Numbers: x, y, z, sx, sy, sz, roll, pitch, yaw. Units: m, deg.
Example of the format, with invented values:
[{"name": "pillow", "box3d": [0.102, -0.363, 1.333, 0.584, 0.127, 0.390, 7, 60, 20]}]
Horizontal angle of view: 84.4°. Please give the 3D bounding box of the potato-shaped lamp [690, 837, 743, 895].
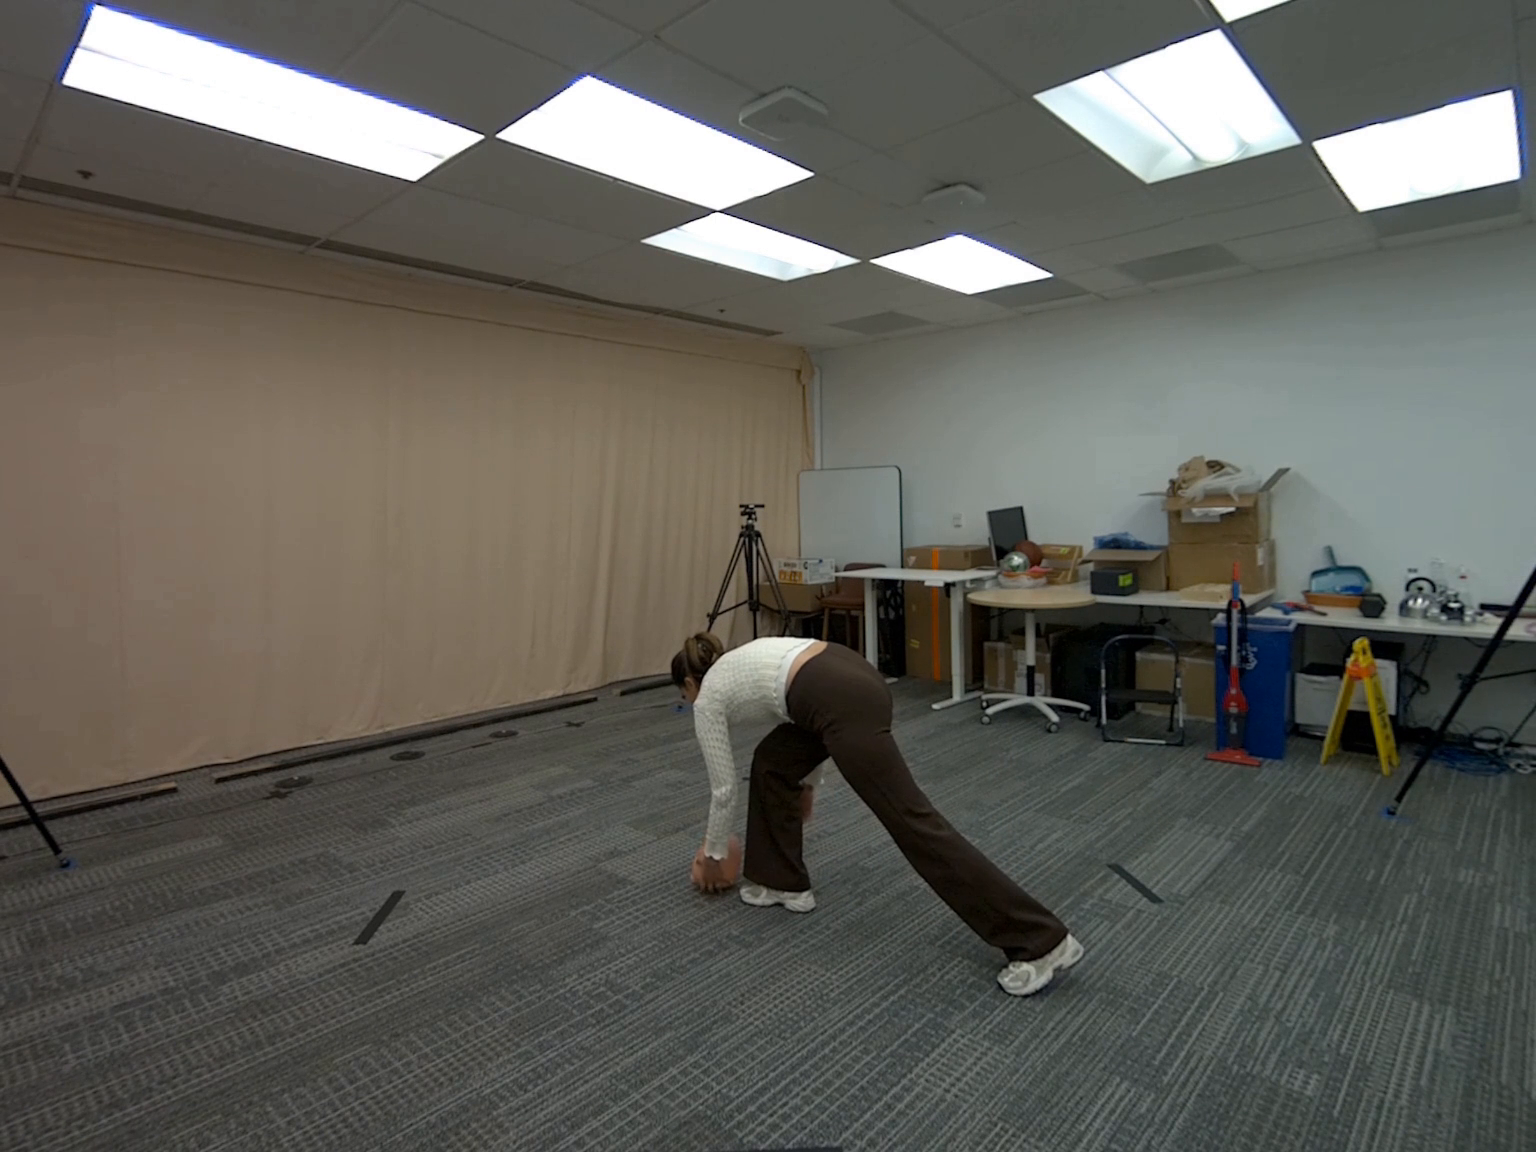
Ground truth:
[{"name": "potato-shaped lamp", "box3d": [-0.178, 1.029, 3.071, 0.176, 0.198, 0.160, 12, -2, 24]}]
